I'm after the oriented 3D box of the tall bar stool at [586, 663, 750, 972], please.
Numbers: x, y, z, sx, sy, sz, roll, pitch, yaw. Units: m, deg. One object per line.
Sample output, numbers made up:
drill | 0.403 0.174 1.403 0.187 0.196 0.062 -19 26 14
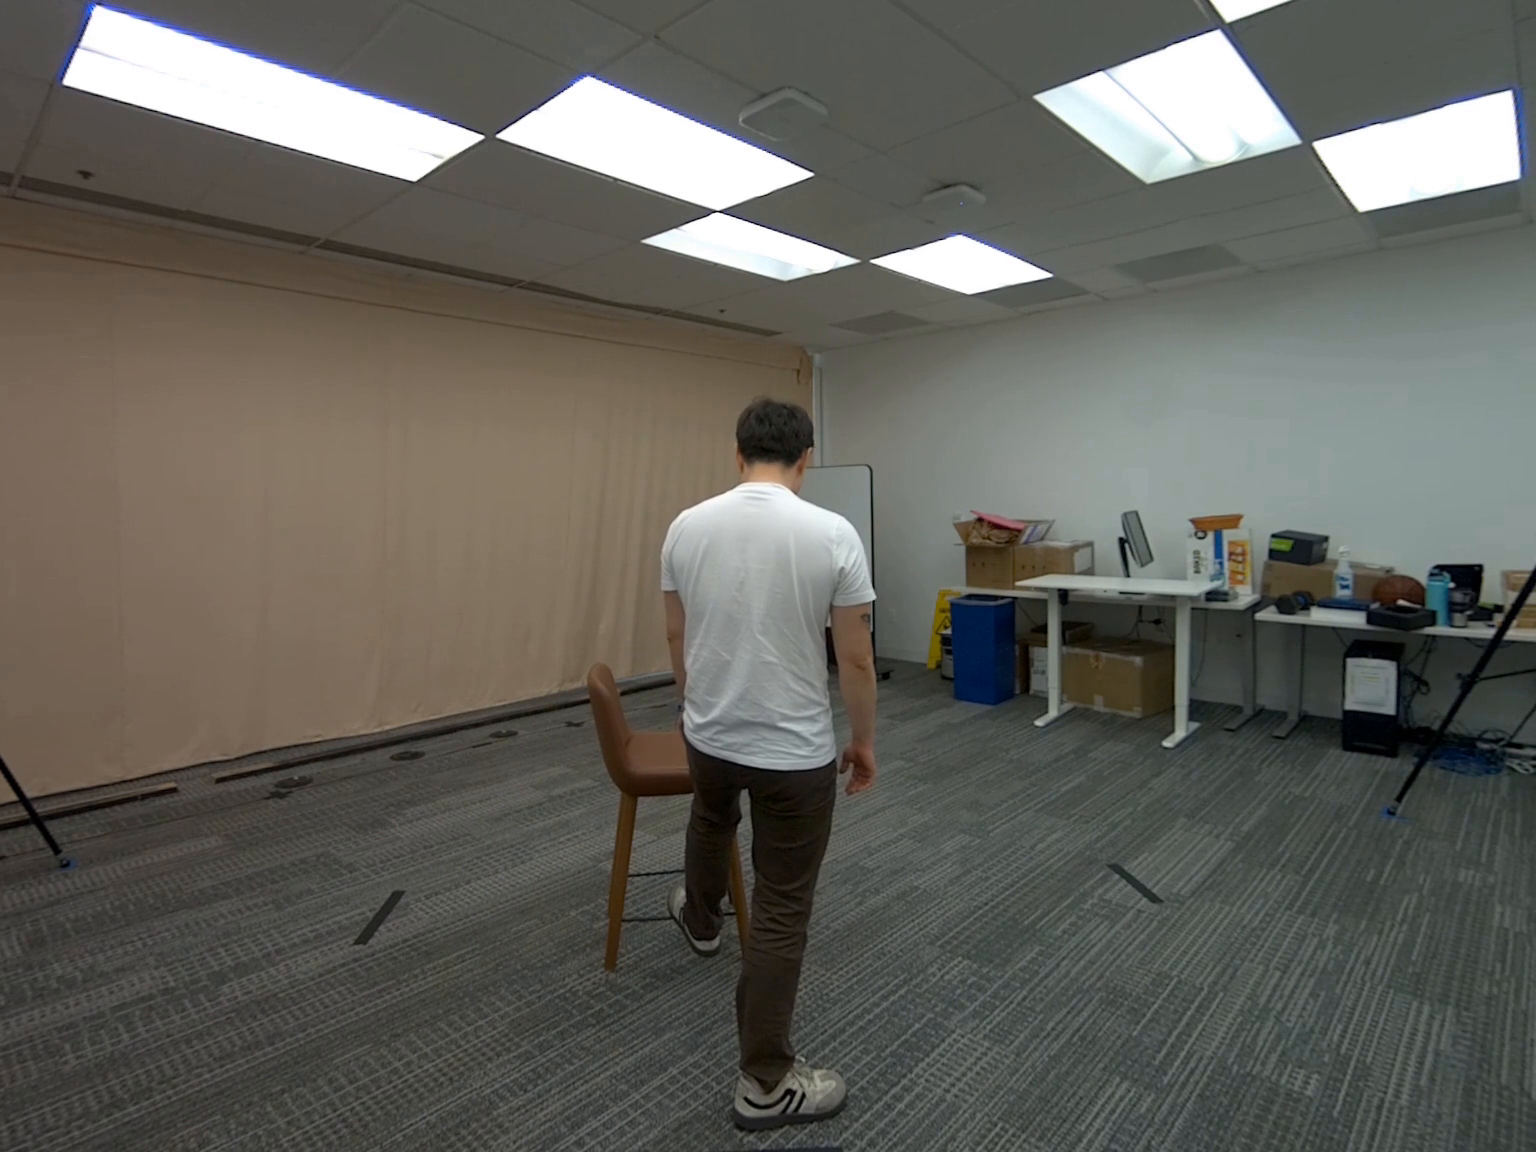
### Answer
tall bar stool | -0.313 0.734 2.718 0.464 0.888 0.461 -3 3 -8
